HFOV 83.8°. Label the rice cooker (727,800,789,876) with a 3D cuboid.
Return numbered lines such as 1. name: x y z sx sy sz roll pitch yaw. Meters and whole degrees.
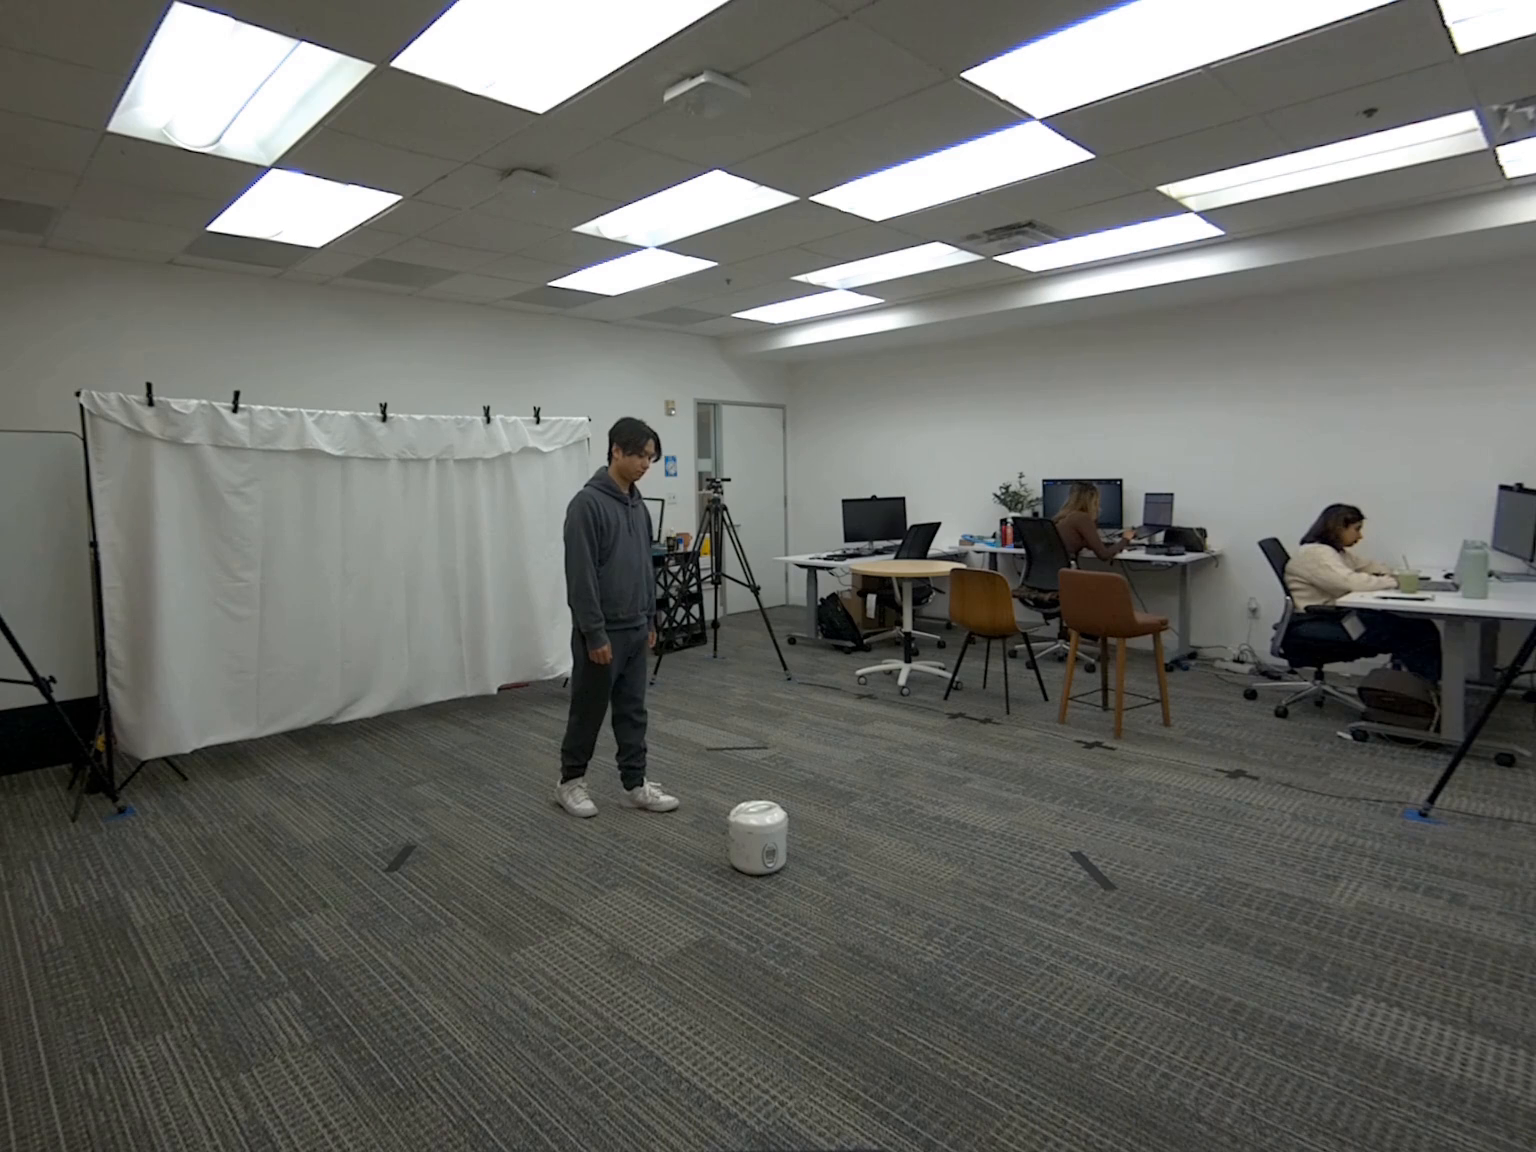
1. rice cooker: -0.032 0.926 3.082 0.216 0.232 0.222 -3 4 -23
